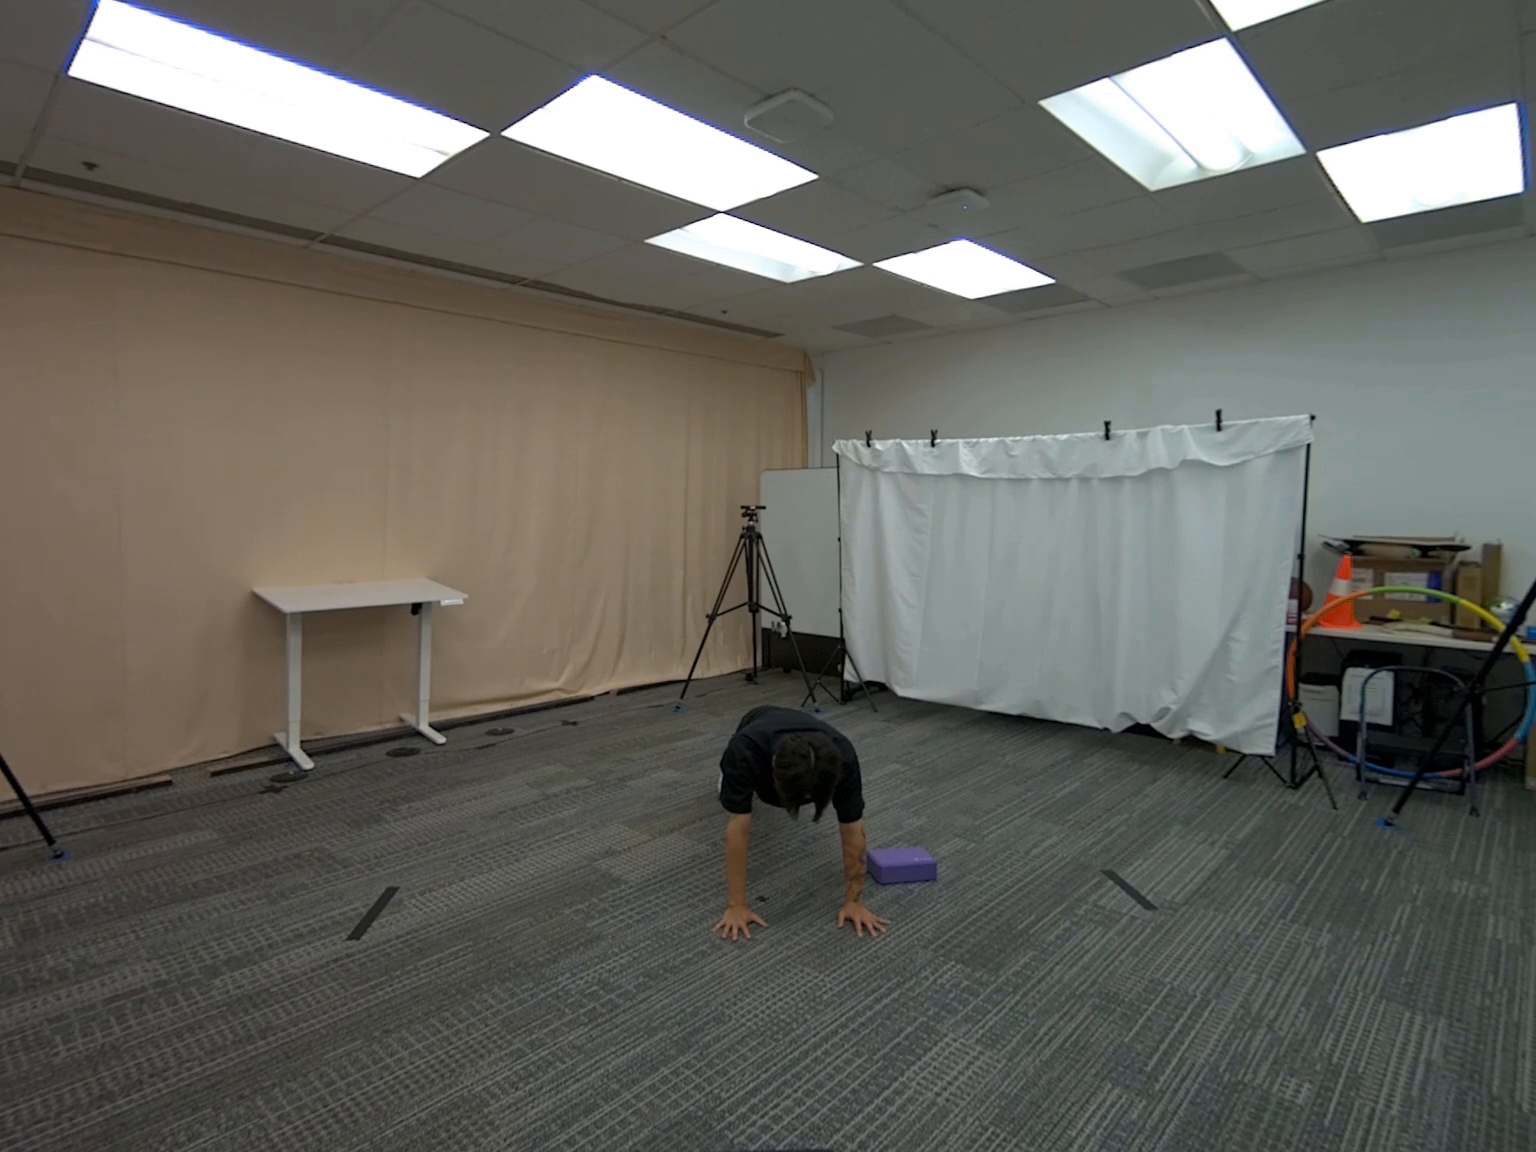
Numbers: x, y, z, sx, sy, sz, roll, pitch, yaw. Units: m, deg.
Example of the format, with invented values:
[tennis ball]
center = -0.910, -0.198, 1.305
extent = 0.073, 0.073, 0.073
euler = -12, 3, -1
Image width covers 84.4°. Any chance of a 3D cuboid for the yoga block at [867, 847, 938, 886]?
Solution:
[yoga block]
center = 0.507, 1.088, 3.166
extent = 0.227, 0.076, 0.151
euler = -1, 4, -11
